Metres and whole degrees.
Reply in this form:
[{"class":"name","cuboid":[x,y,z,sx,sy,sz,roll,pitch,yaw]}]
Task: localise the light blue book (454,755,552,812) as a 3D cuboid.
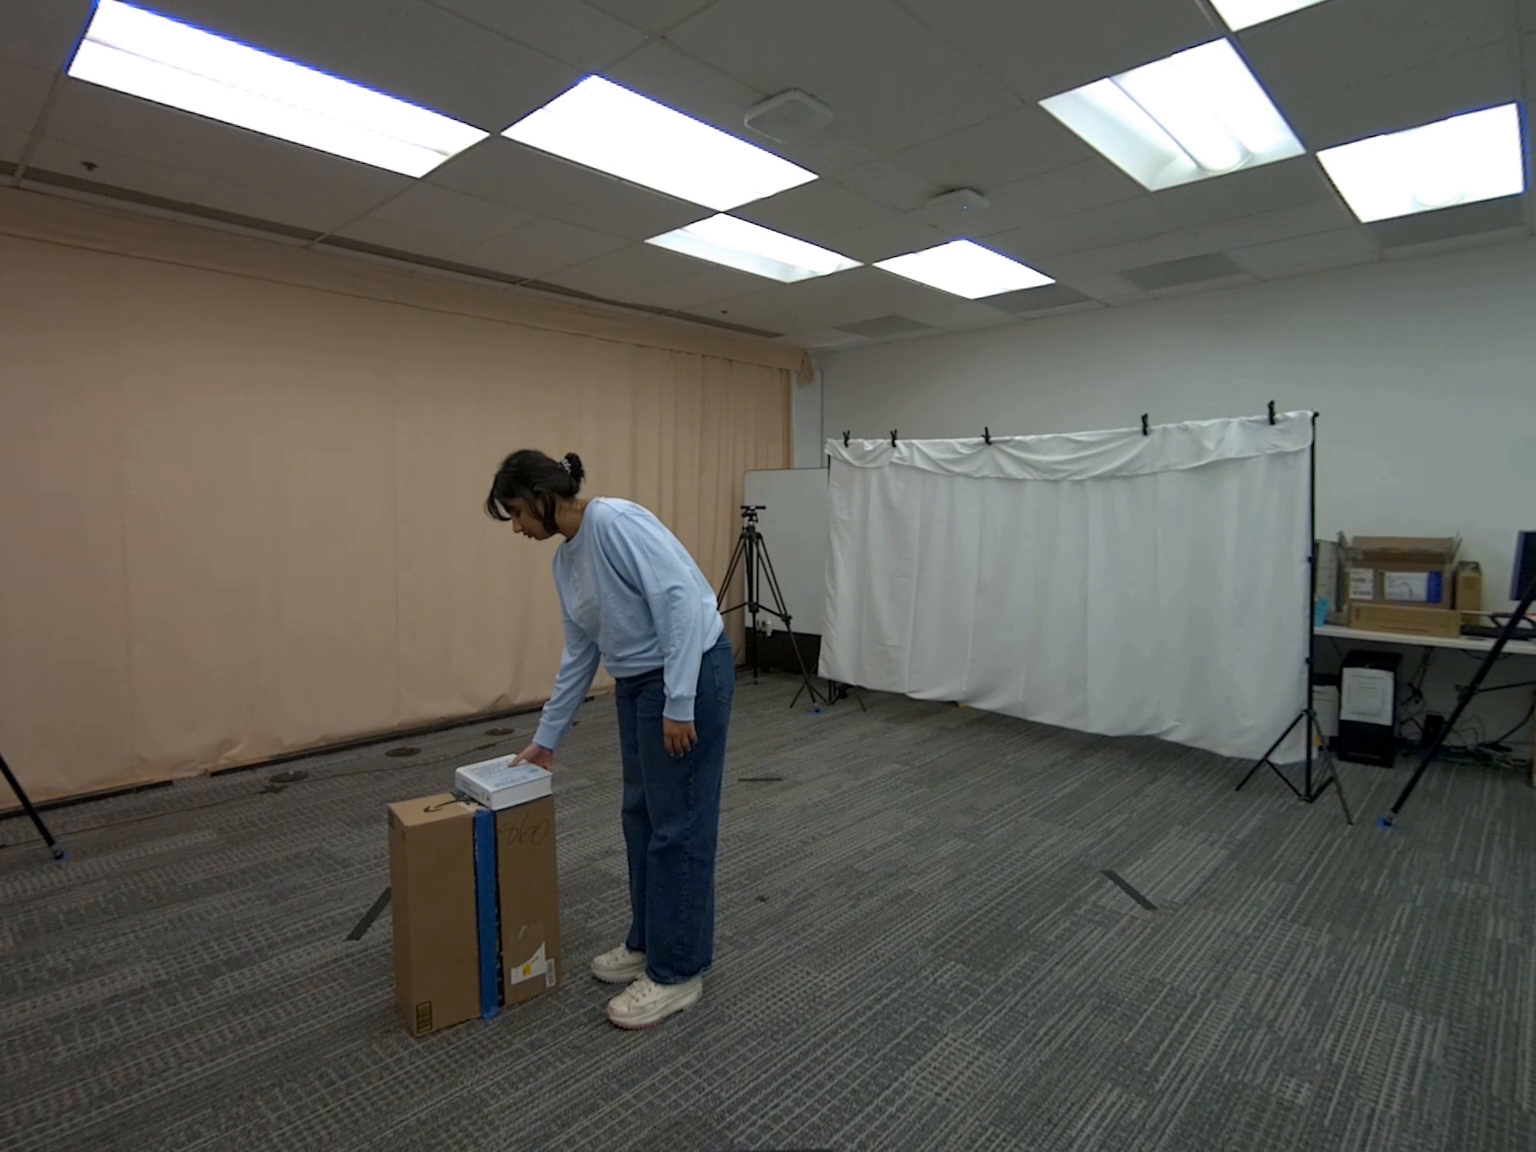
[{"class":"light blue book","cuboid":[-0.766,0.596,2.457,0.186,0.059,0.269,-8,8,-40]}]
